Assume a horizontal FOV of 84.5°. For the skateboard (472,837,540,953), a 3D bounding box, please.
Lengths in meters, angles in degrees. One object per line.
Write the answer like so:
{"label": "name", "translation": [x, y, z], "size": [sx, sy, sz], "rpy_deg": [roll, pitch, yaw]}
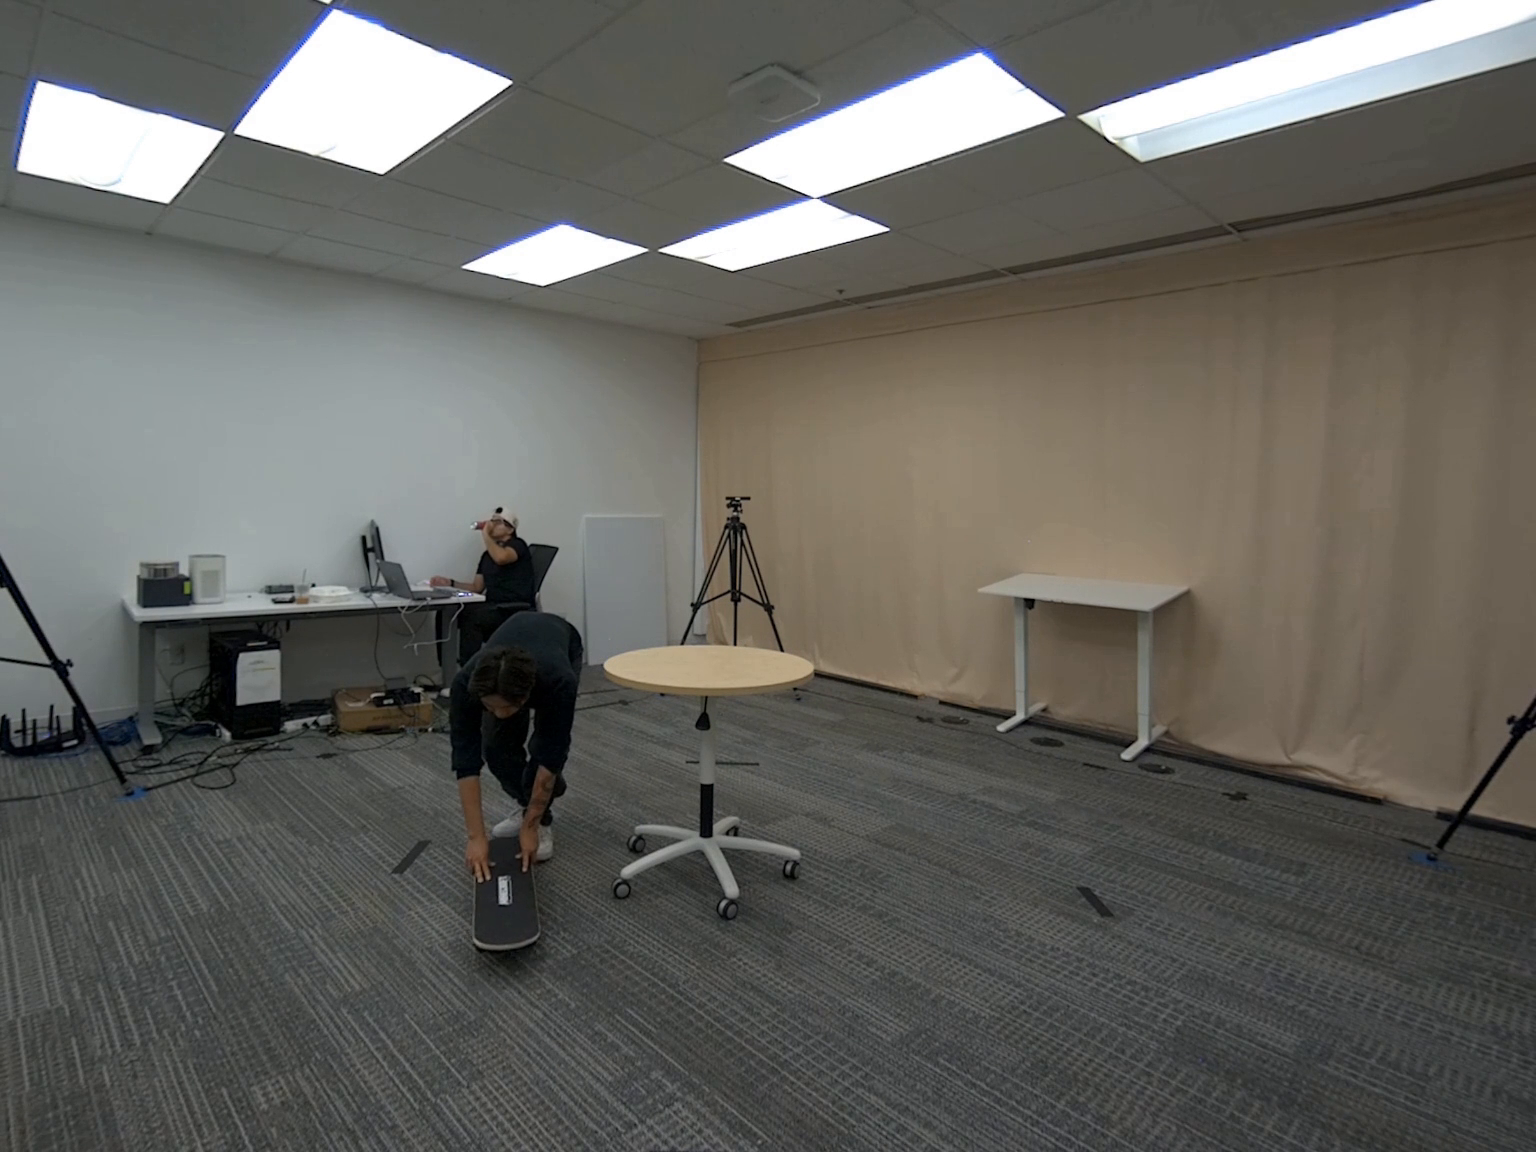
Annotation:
{"label": "skateboard", "translation": [-0.874, 1.071, 2.766], "size": [0.191, 0.110, 0.798], "rpy_deg": [0, 5, -18]}
